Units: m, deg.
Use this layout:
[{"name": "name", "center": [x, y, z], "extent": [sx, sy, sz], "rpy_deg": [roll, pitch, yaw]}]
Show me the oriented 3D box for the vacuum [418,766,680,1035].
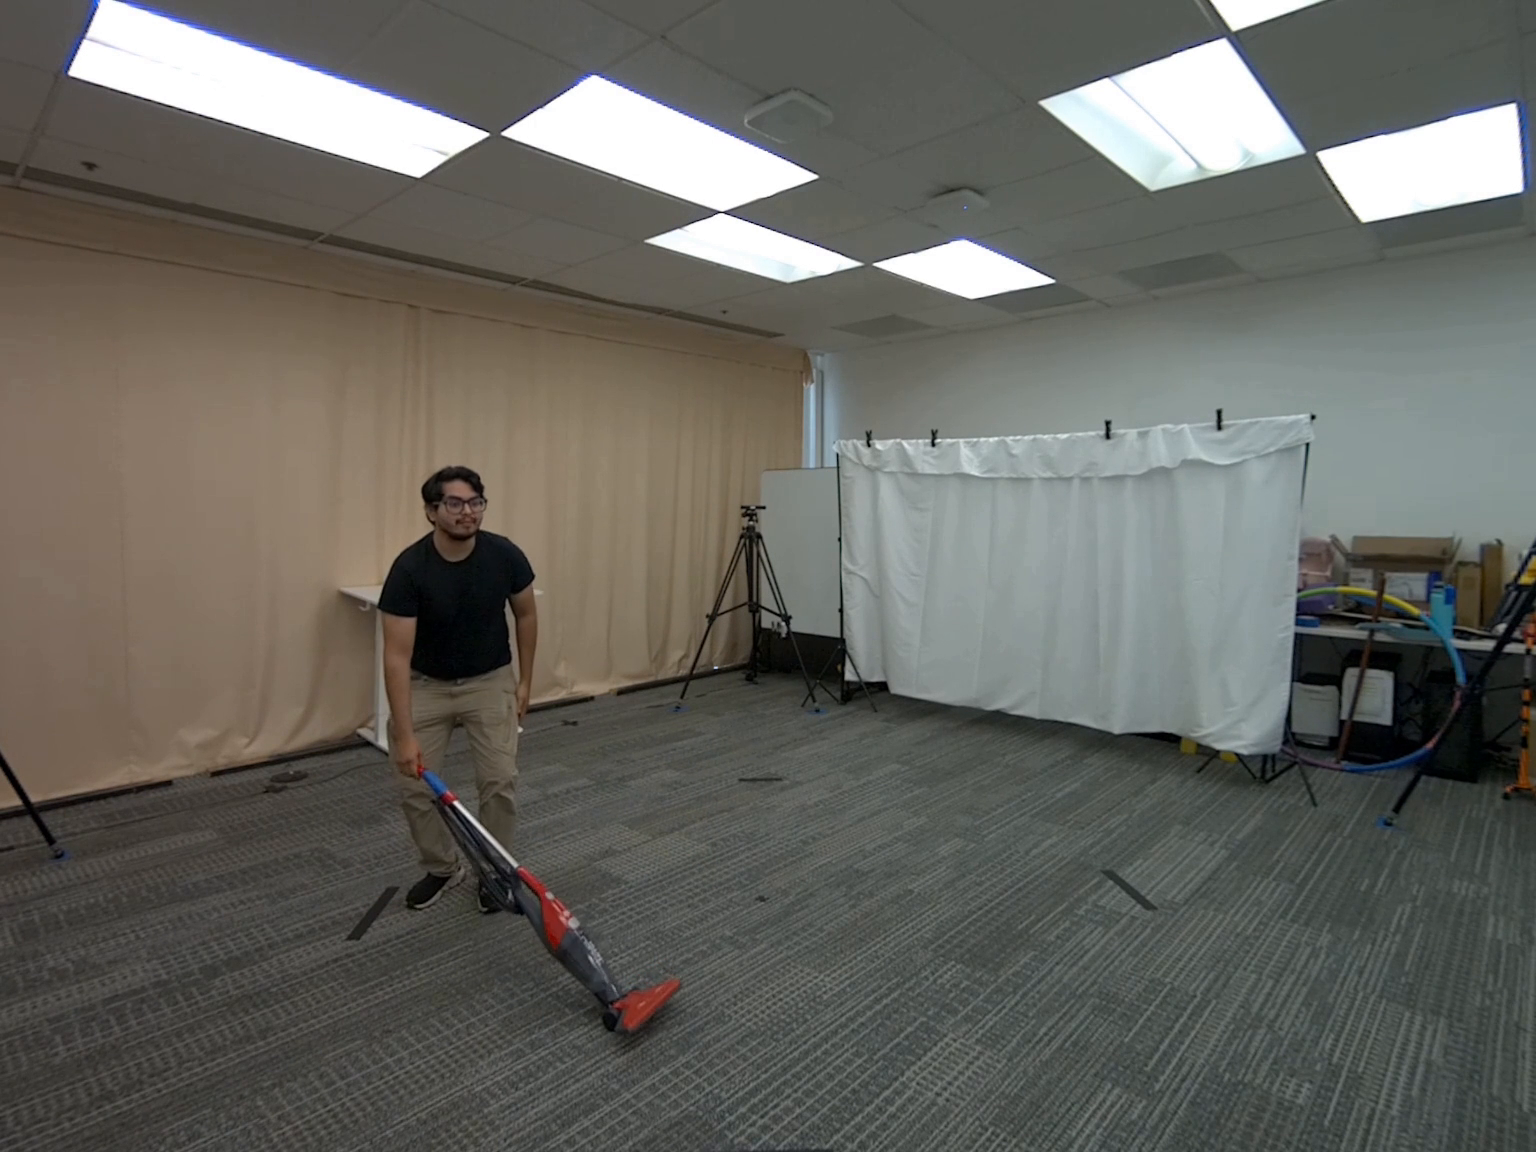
[{"name": "vacuum", "center": [-0.750, 0.894, 2.478], "extent": [1.079, 0.144, 0.246], "rpy_deg": [35, 19, 24]}]
